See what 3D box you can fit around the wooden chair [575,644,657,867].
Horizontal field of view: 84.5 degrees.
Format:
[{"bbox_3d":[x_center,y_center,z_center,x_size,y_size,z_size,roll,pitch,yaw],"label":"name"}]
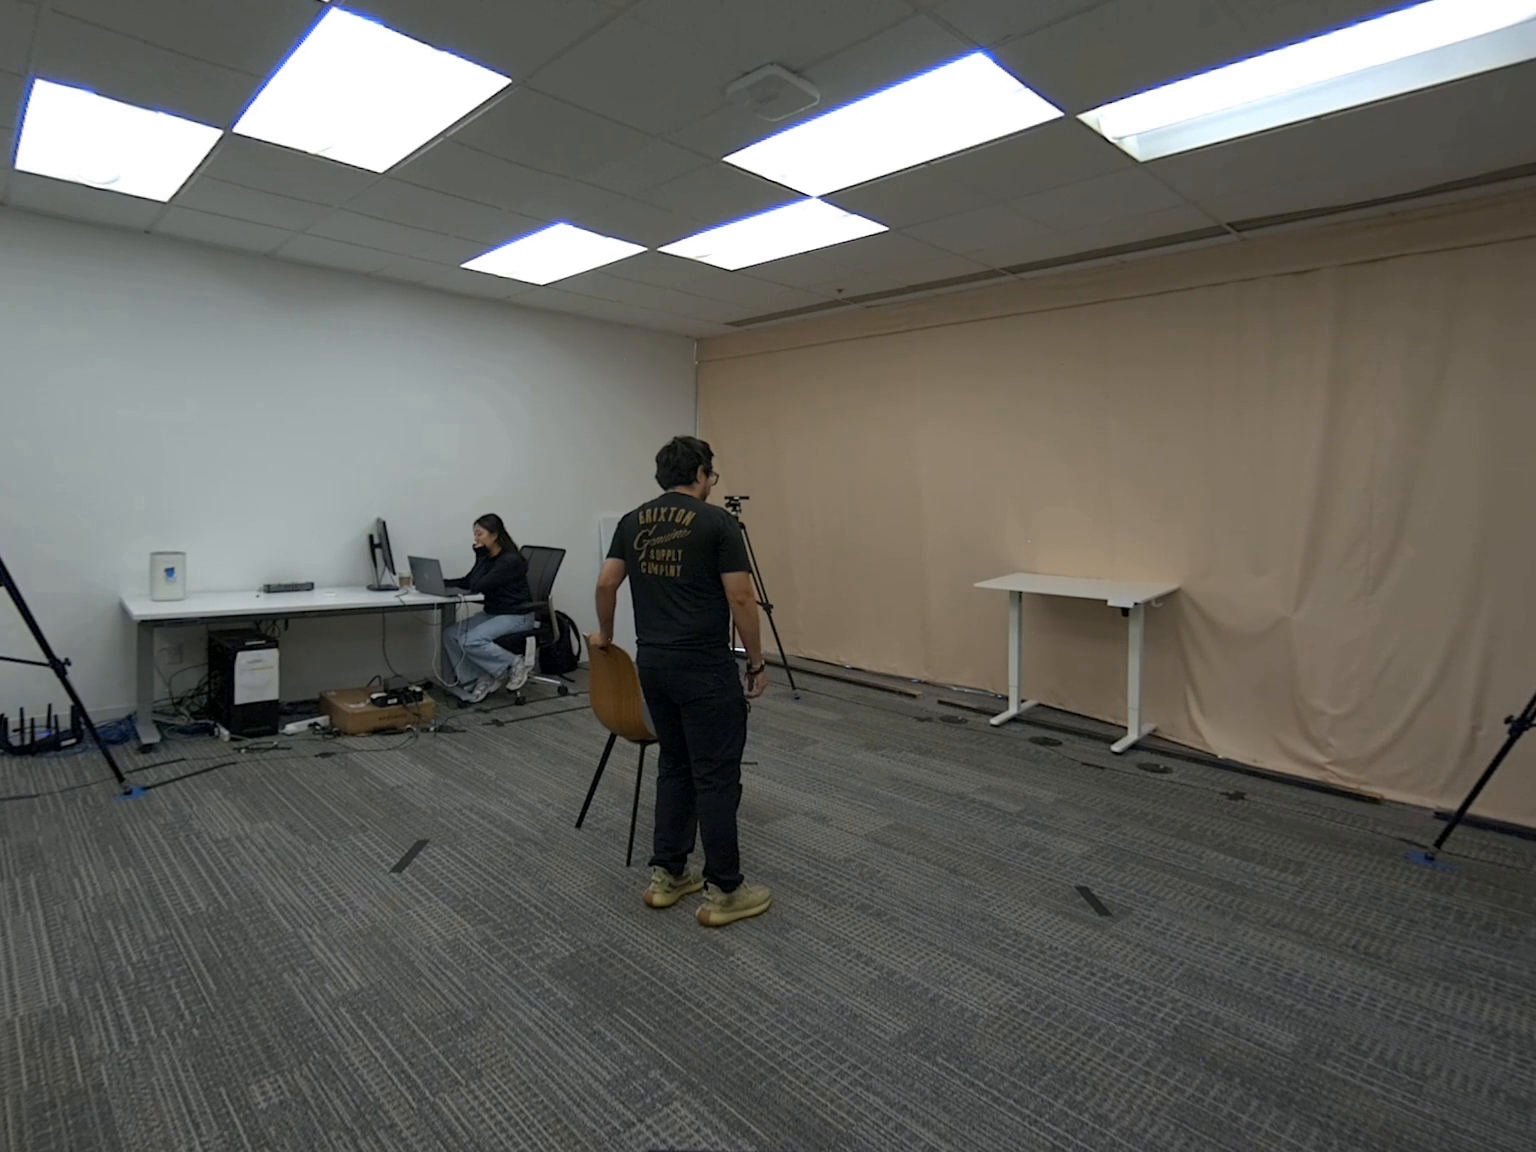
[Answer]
[{"bbox_3d":[-0.479,0.640,3.448,0.512,0.873,0.490,-7,8,-37],"label":"wooden chair"}]
